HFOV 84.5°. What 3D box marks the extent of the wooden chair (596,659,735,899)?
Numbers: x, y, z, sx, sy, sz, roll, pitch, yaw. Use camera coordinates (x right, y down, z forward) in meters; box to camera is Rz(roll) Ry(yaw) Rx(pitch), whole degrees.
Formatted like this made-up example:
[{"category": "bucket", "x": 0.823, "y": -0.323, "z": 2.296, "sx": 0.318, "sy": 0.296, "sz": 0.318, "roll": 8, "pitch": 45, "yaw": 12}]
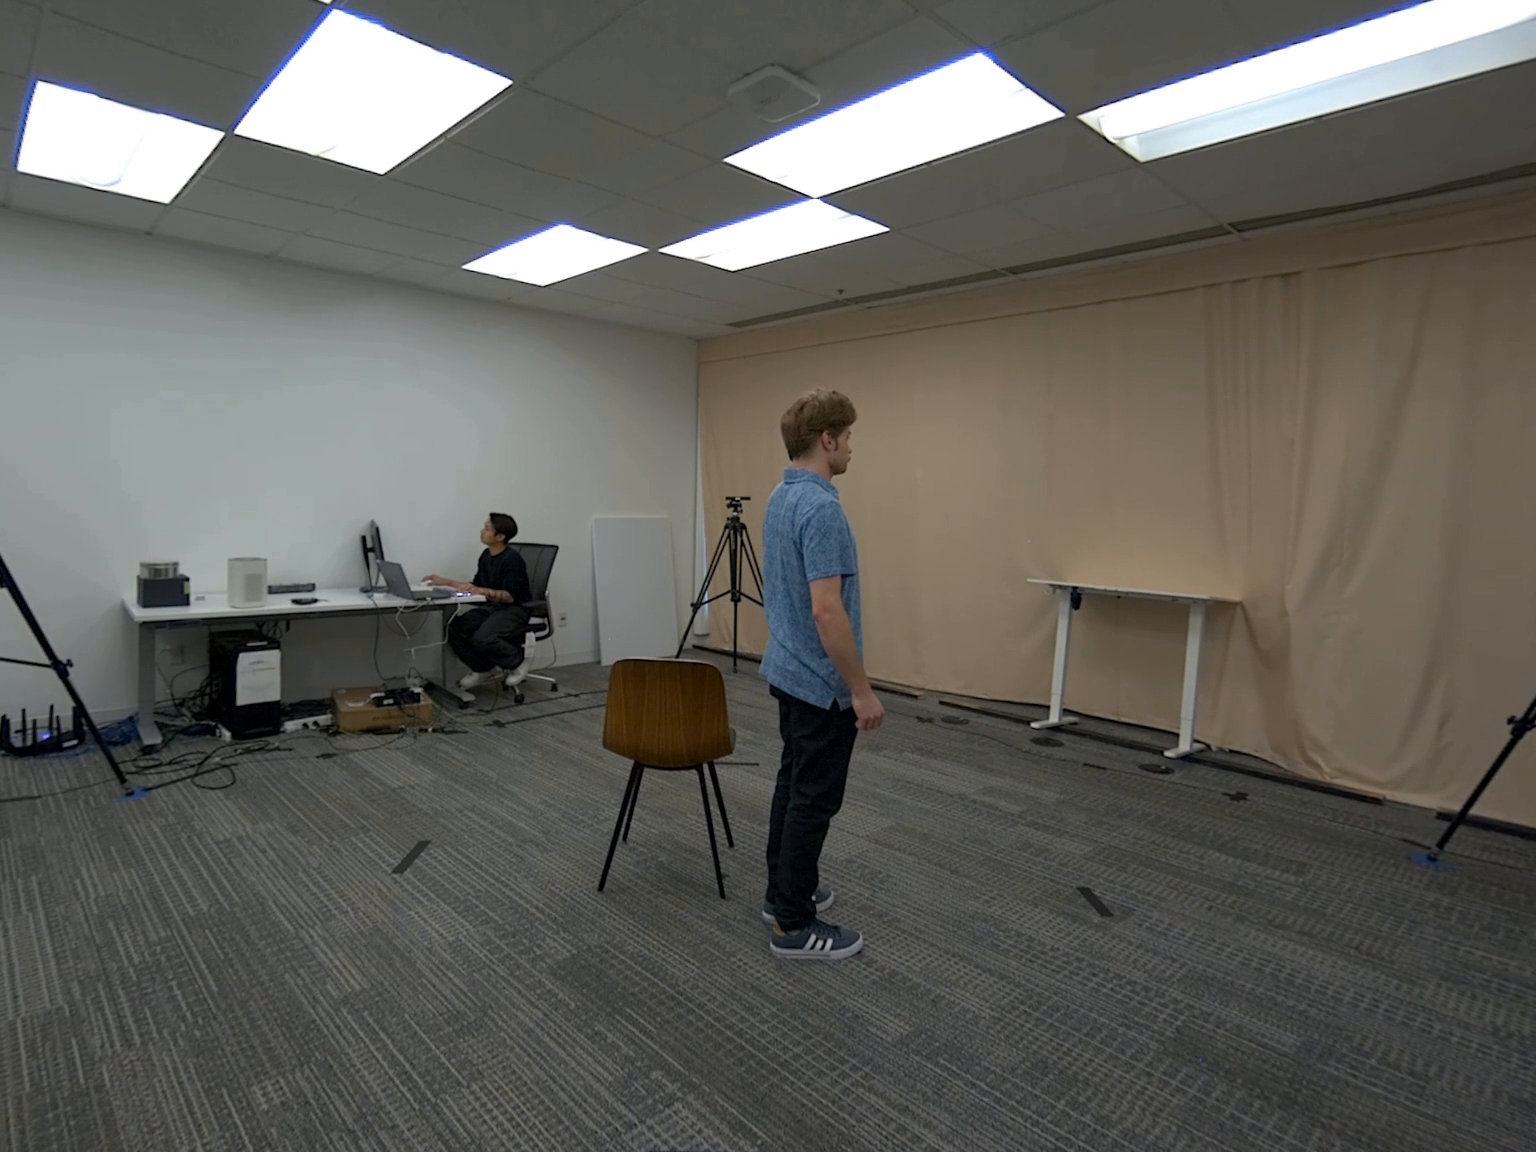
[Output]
[{"category": "wooden chair", "x": -0.370, "y": 0.673, "z": 3.143, "sx": 0.479, "sy": 0.872, "sz": 0.525, "roll": 1, "pitch": 7, "yaw": 2}]
